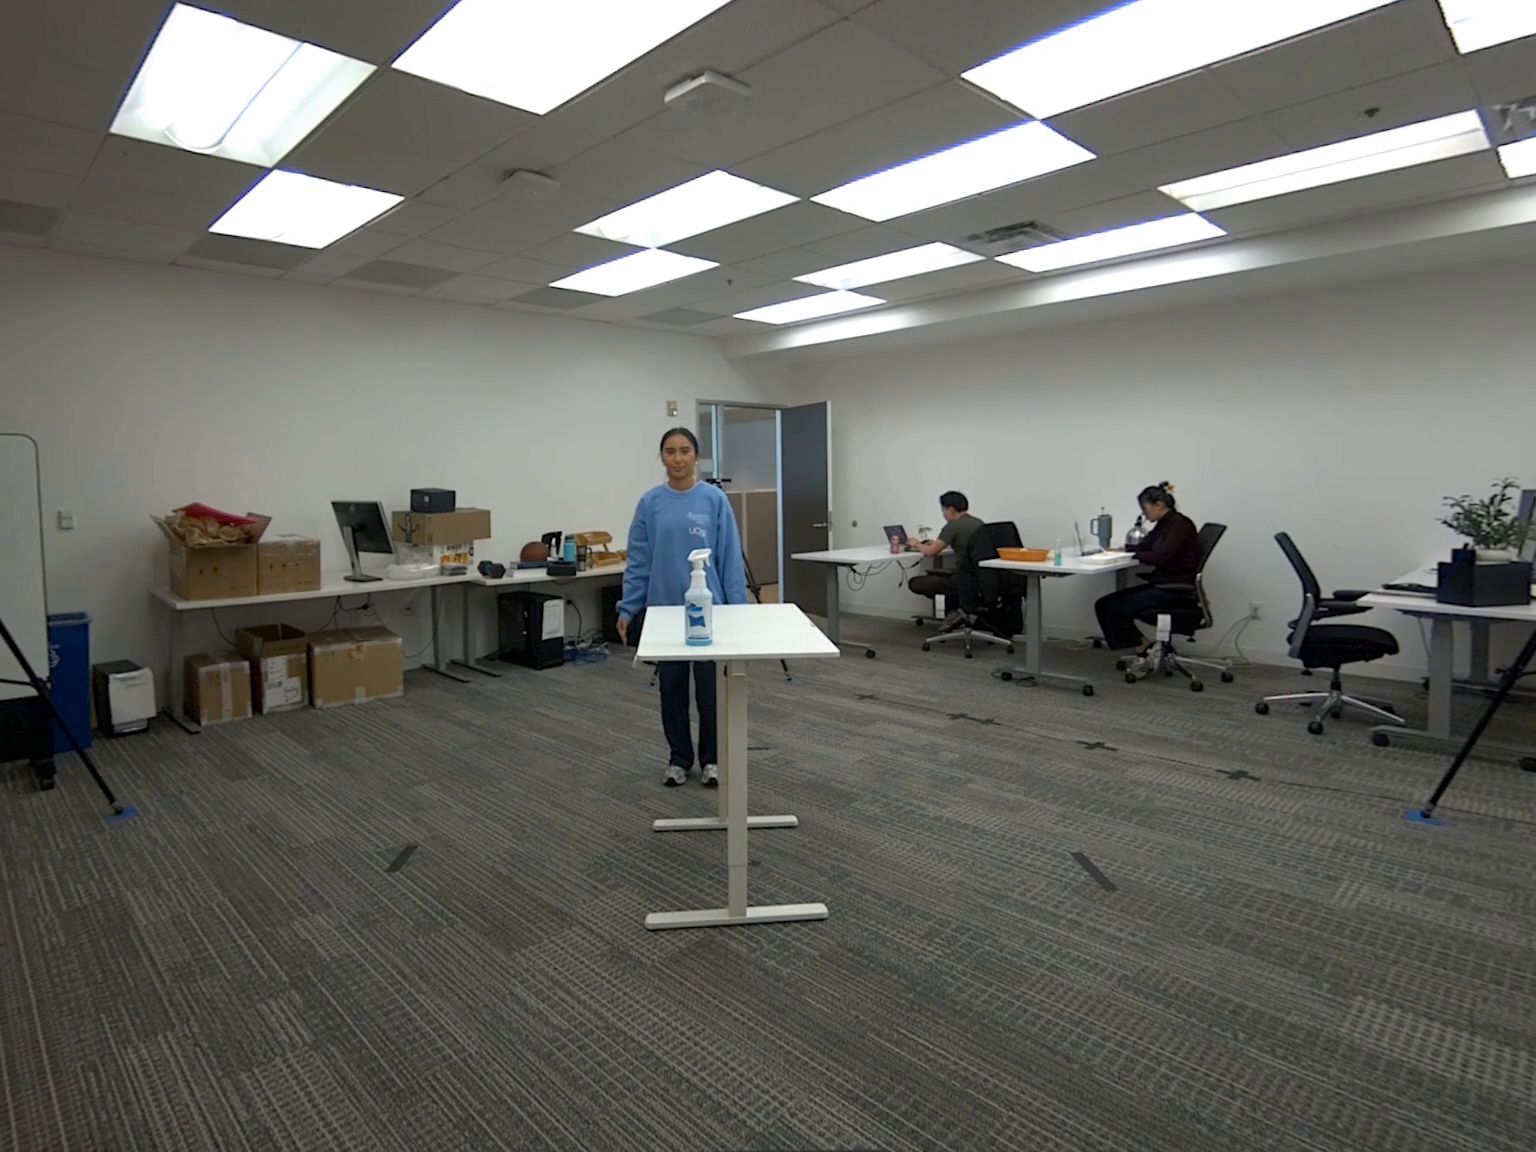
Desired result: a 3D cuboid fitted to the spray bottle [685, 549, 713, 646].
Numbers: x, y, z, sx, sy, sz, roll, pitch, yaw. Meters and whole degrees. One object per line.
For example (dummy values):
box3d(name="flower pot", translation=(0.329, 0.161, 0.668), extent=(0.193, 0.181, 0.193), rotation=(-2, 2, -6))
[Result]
box3d(name="spray bottle", translation=(-0.217, 0.069, 2.671), extent=(0.088, 0.296, 0.089), rotation=(0, 3, -21))
